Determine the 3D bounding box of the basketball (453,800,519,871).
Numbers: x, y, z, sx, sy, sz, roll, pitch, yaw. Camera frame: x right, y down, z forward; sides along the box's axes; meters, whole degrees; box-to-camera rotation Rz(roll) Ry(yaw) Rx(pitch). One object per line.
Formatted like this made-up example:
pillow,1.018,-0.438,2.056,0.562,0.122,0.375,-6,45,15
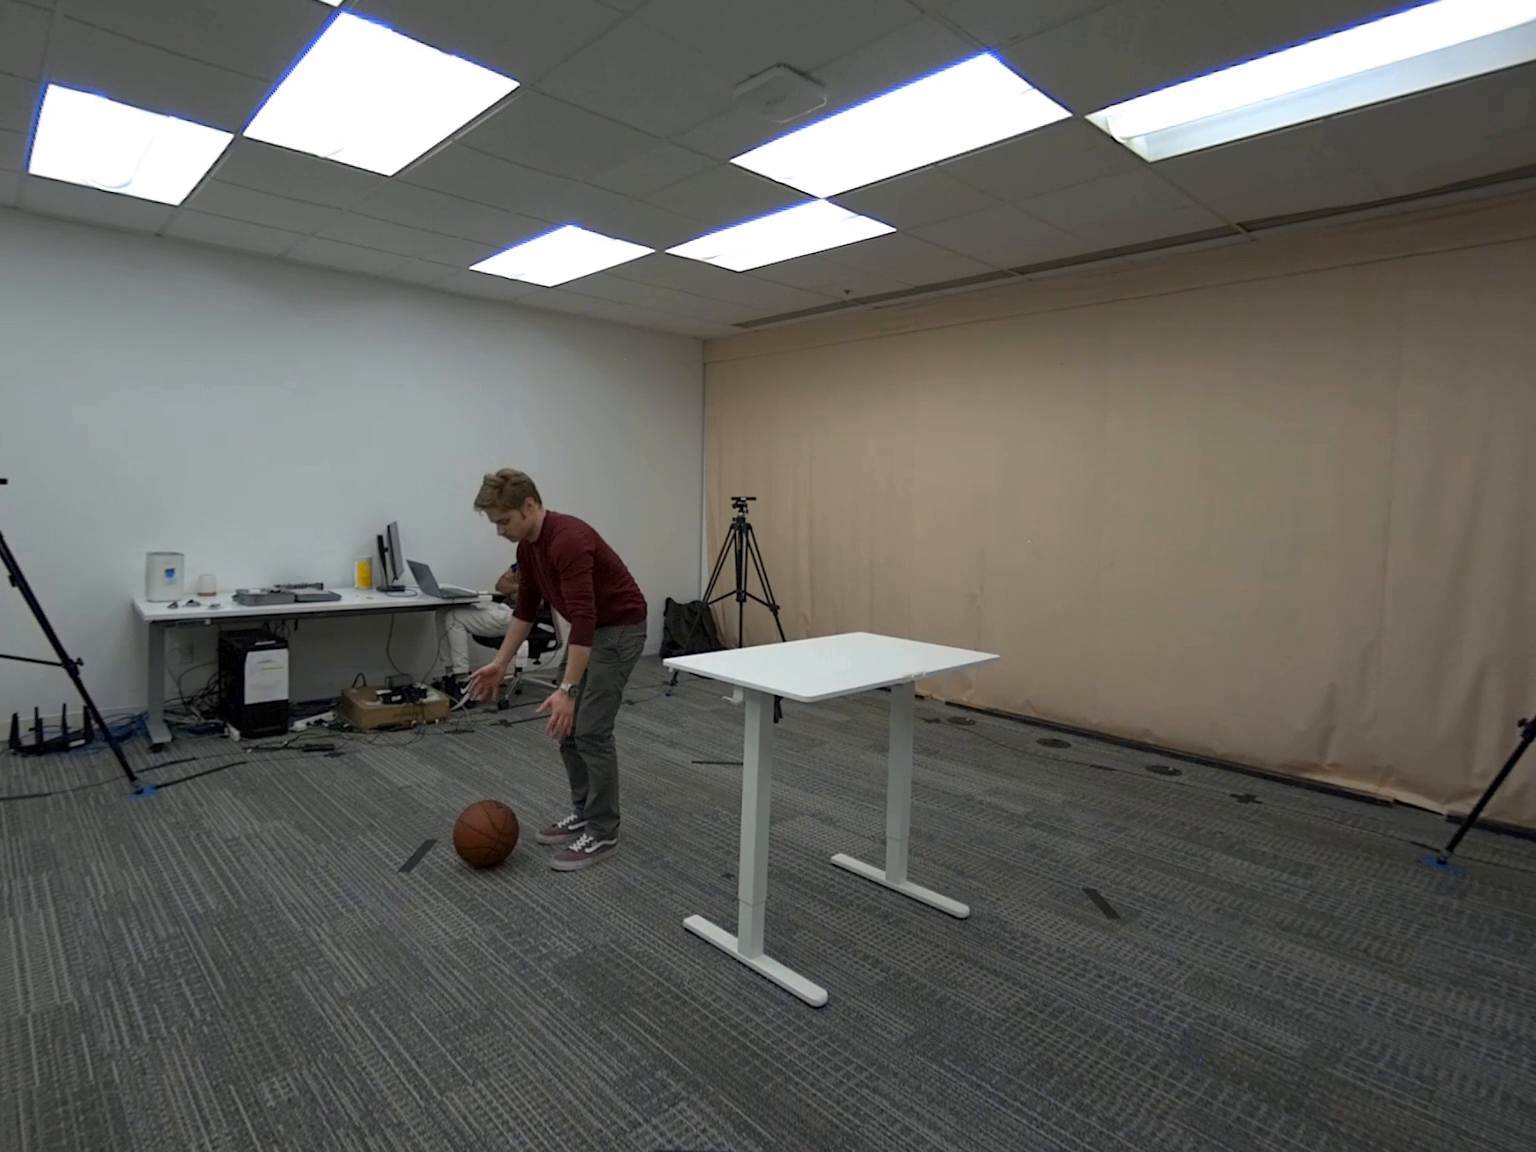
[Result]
basketball,-1.071,0.967,3.152,0.236,0.235,0.237,1,4,-1
